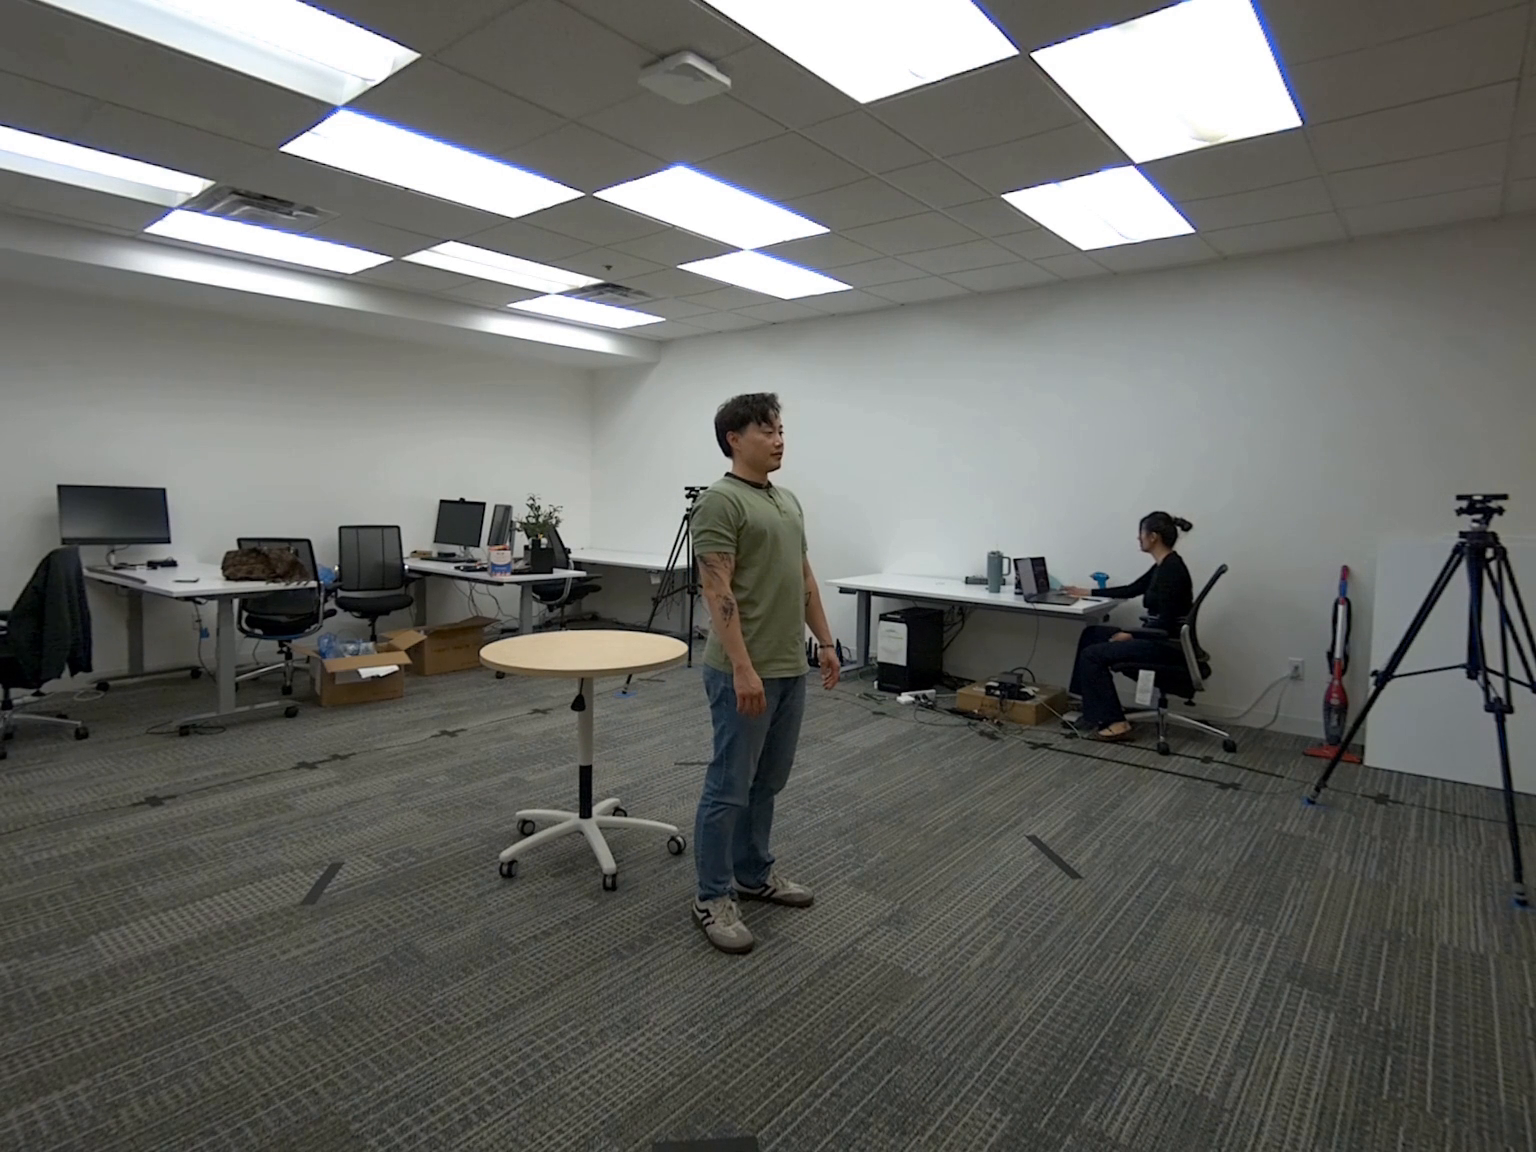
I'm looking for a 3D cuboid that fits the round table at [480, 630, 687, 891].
[{"bbox_3d":[-0.693,0.661,3.197,0.763,0.791,0.768,0,4,-2],"label":"round table"}]
